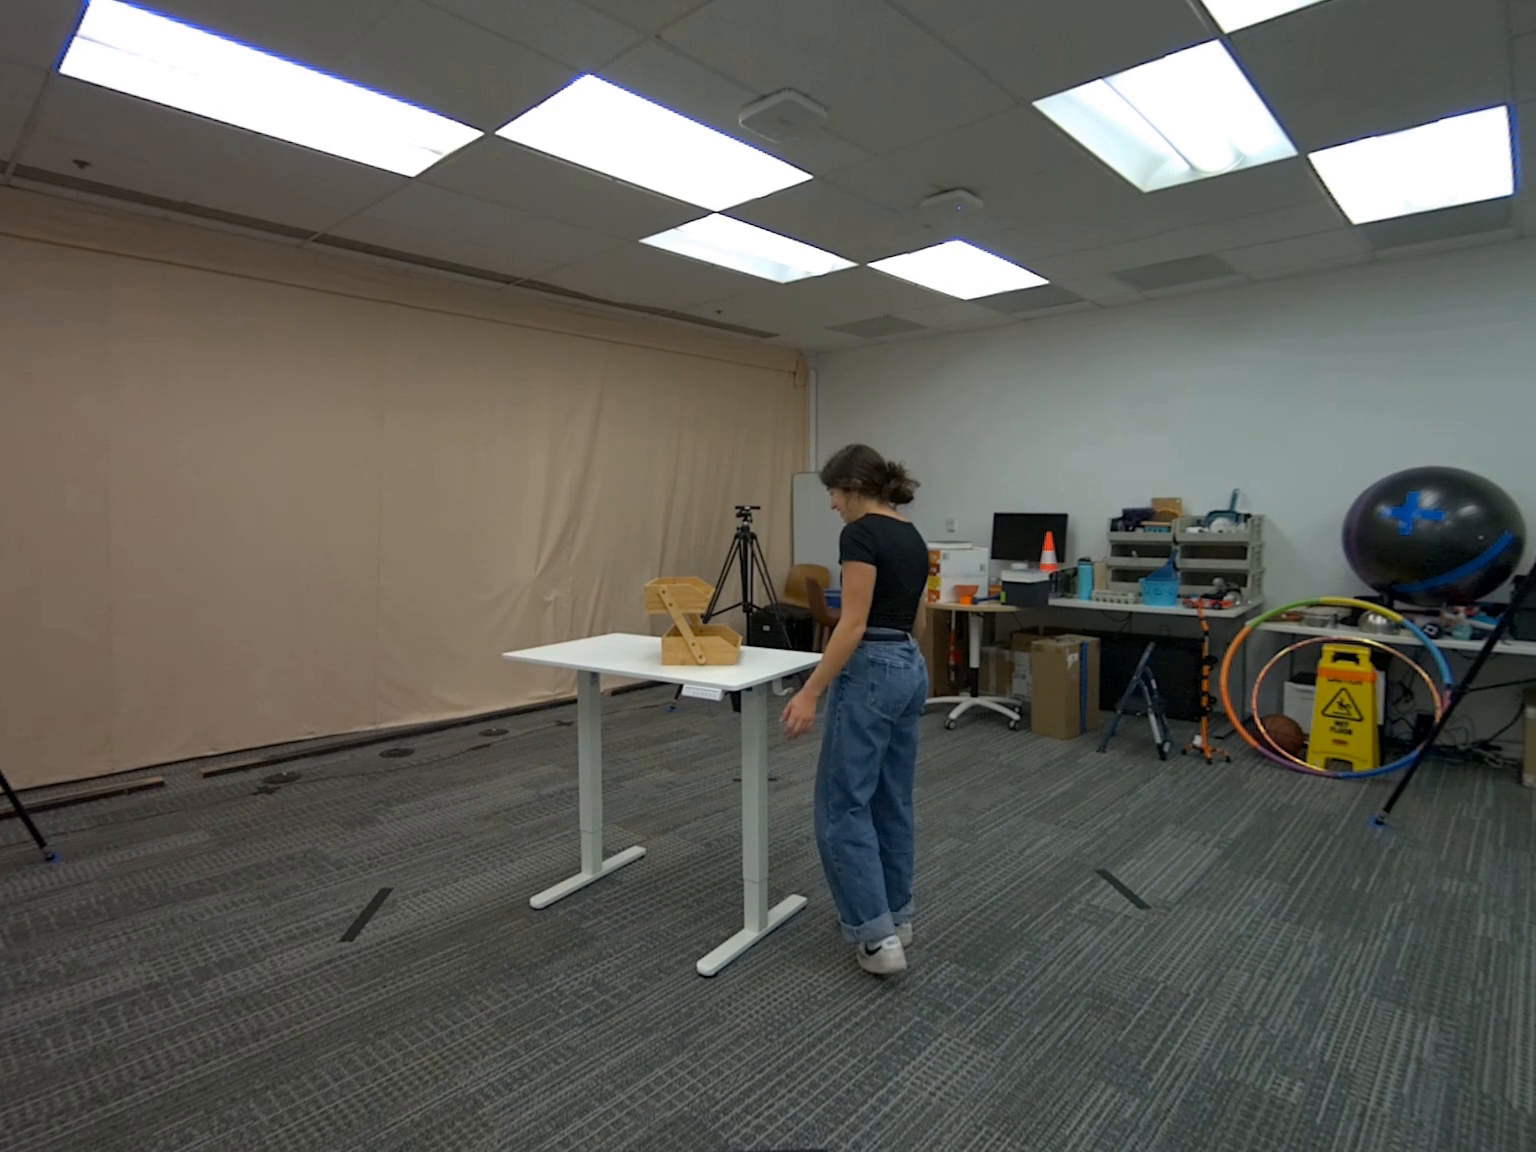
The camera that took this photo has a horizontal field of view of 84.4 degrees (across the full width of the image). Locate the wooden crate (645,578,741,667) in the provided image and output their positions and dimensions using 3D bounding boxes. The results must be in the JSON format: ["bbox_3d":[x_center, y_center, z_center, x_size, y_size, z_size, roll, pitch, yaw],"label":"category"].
[{"bbox_3d":[-0.245,0.148,2.832,0.303,0.273,0.324,-1,3,2],"label":"wooden crate"}]
